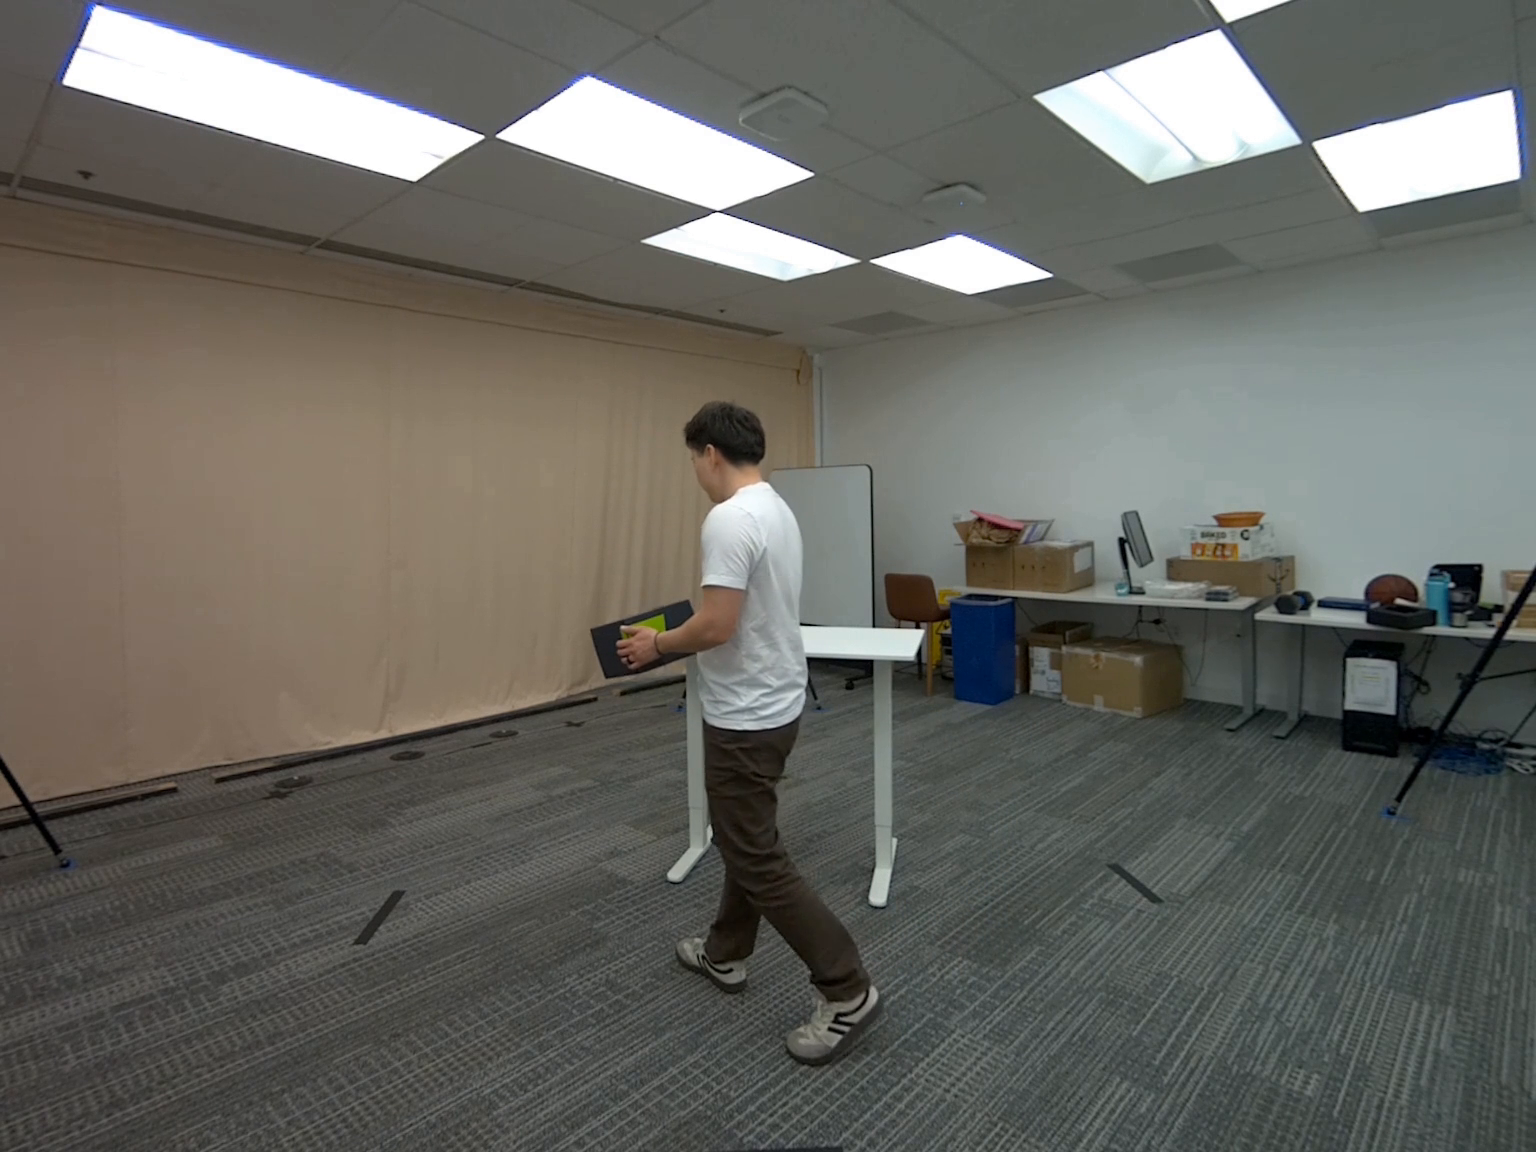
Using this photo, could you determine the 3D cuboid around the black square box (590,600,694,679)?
[{"bbox_3d":[-0.350,0.189,2.438,0.222,0.156,0.222,-16,0,-36],"label":"black square box"}]
